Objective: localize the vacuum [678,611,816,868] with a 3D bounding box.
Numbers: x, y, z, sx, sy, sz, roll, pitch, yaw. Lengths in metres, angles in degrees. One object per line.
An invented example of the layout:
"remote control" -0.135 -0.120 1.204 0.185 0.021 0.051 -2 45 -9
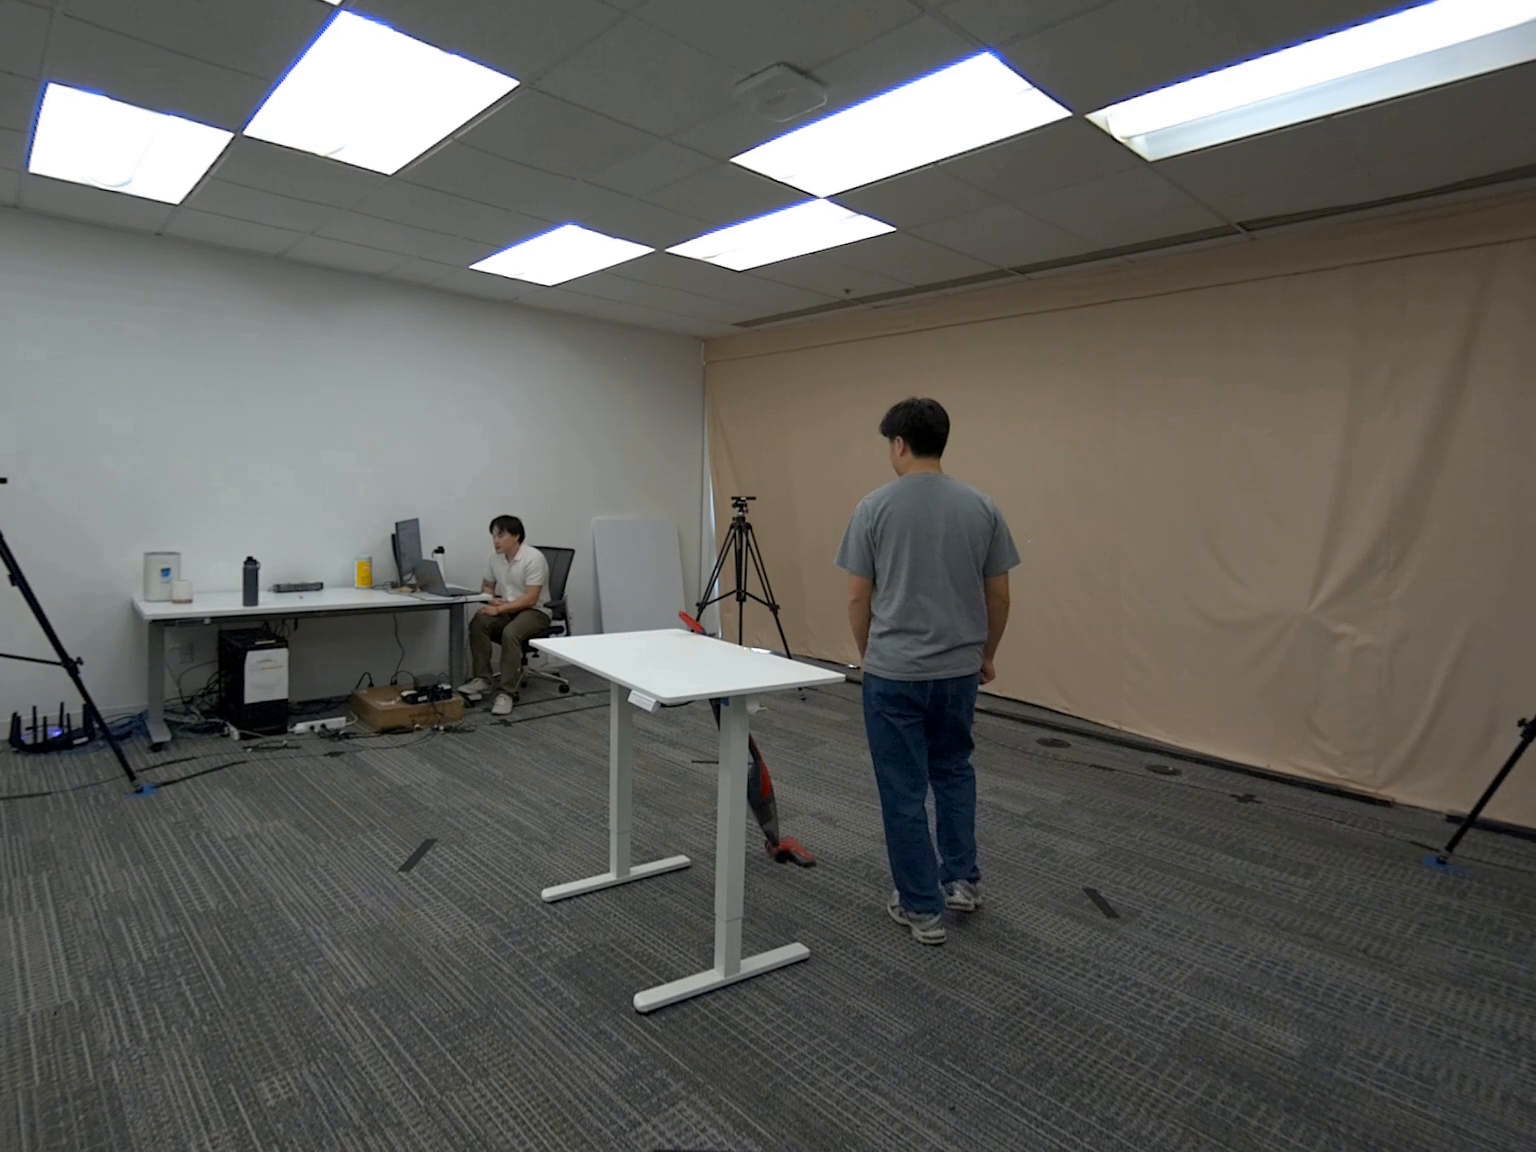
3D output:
"vacuum" -0.125 0.624 3.222 0.143 1.040 0.257 -27 10 -23
